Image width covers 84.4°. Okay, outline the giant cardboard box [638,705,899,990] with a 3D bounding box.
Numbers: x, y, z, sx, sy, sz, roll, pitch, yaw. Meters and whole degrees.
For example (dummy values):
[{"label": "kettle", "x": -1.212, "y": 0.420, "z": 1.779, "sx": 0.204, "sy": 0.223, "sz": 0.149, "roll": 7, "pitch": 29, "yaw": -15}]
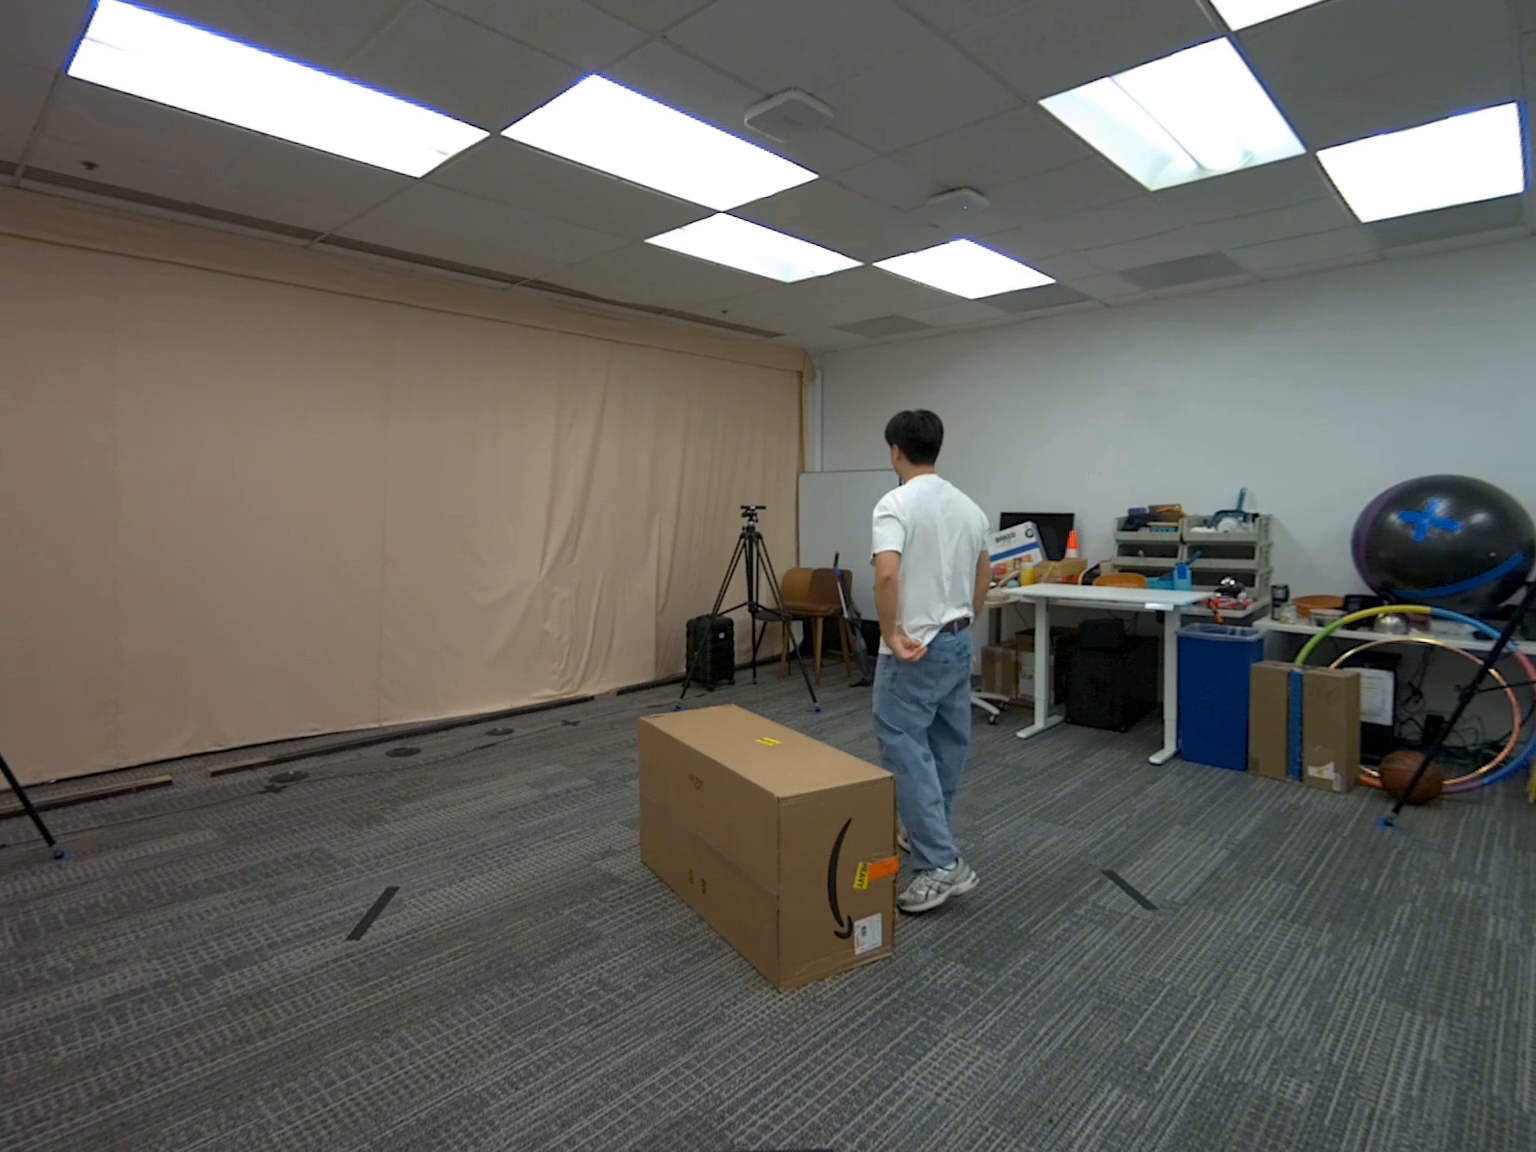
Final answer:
[{"label": "giant cardboard box", "x": -0.051, "y": 0.860, "z": 2.938, "sx": 0.415, "sy": 0.576, "sz": 1.056, "roll": -2, "pitch": 5, "yaw": -30}]
